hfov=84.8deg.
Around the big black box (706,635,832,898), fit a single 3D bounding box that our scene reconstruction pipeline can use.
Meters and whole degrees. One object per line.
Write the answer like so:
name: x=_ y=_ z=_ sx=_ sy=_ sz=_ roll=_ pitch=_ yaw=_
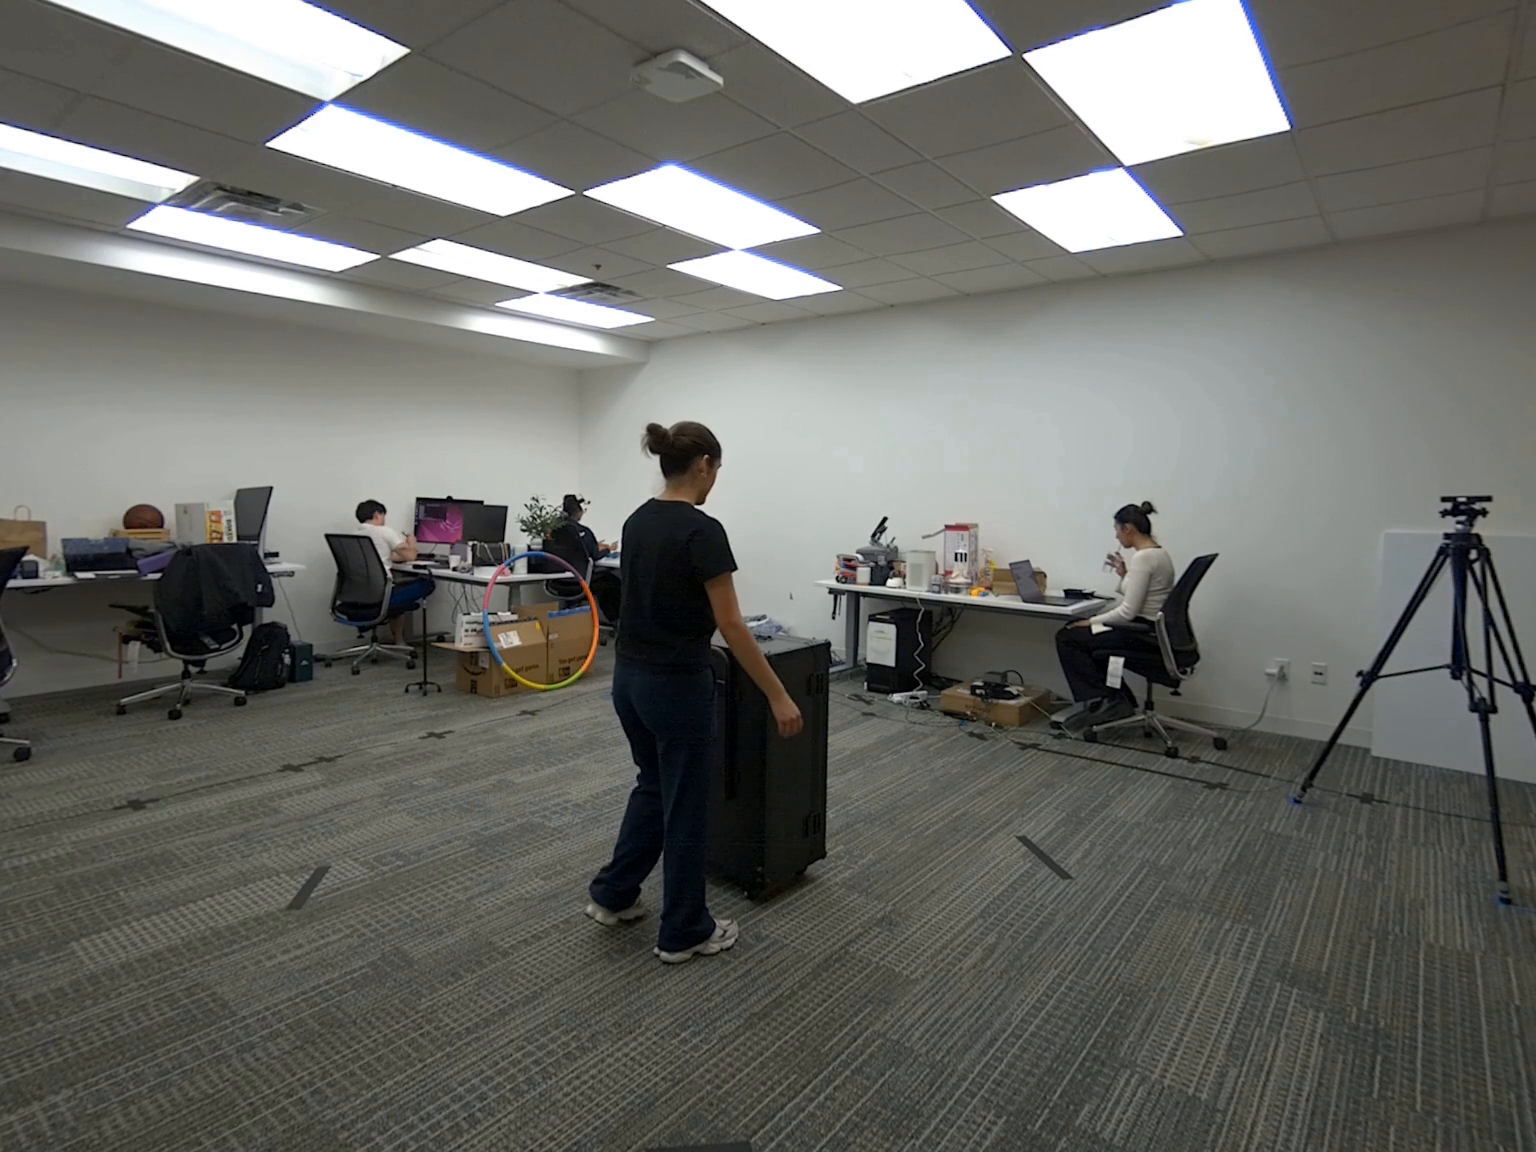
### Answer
big black box: x=-0.066 y=0.651 z=3.073 sx=0.539 sy=0.859 sz=0.384 roll=4 pitch=4 yaw=41
